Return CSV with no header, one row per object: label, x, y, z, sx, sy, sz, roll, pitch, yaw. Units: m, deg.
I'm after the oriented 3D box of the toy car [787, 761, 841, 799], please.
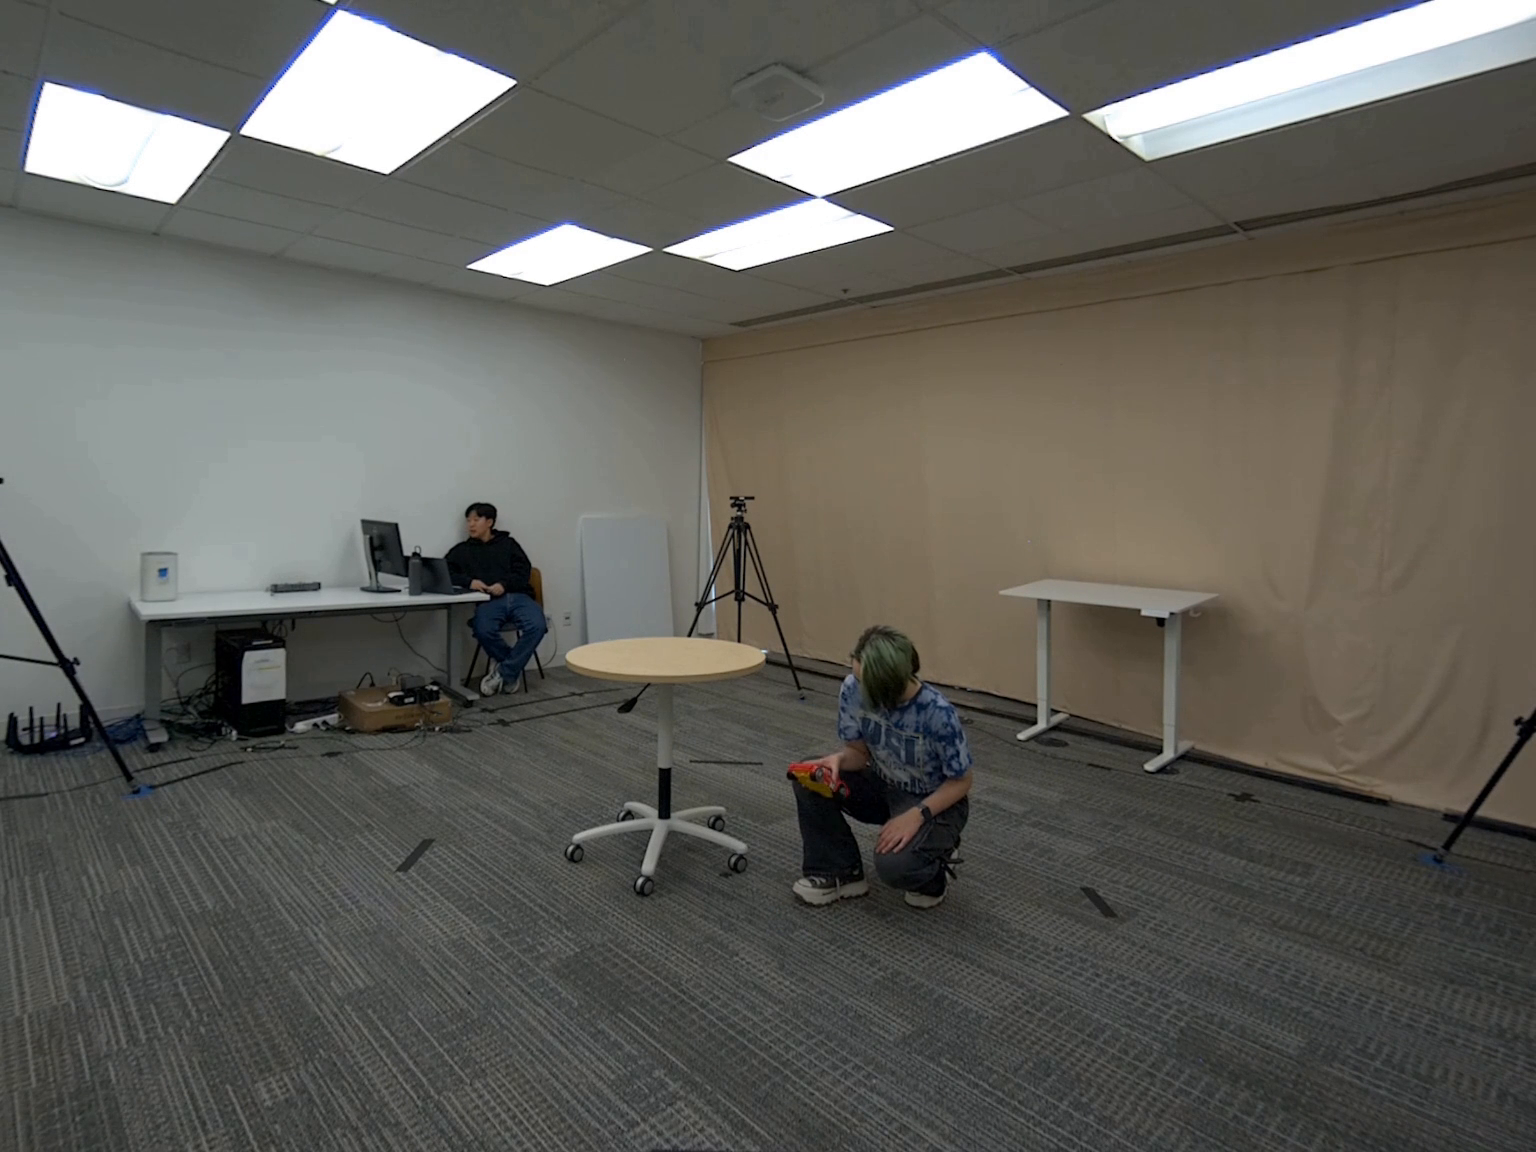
toy car,0.172,0.673,2.686,0.133,0.084,0.246,-9,-27,36
